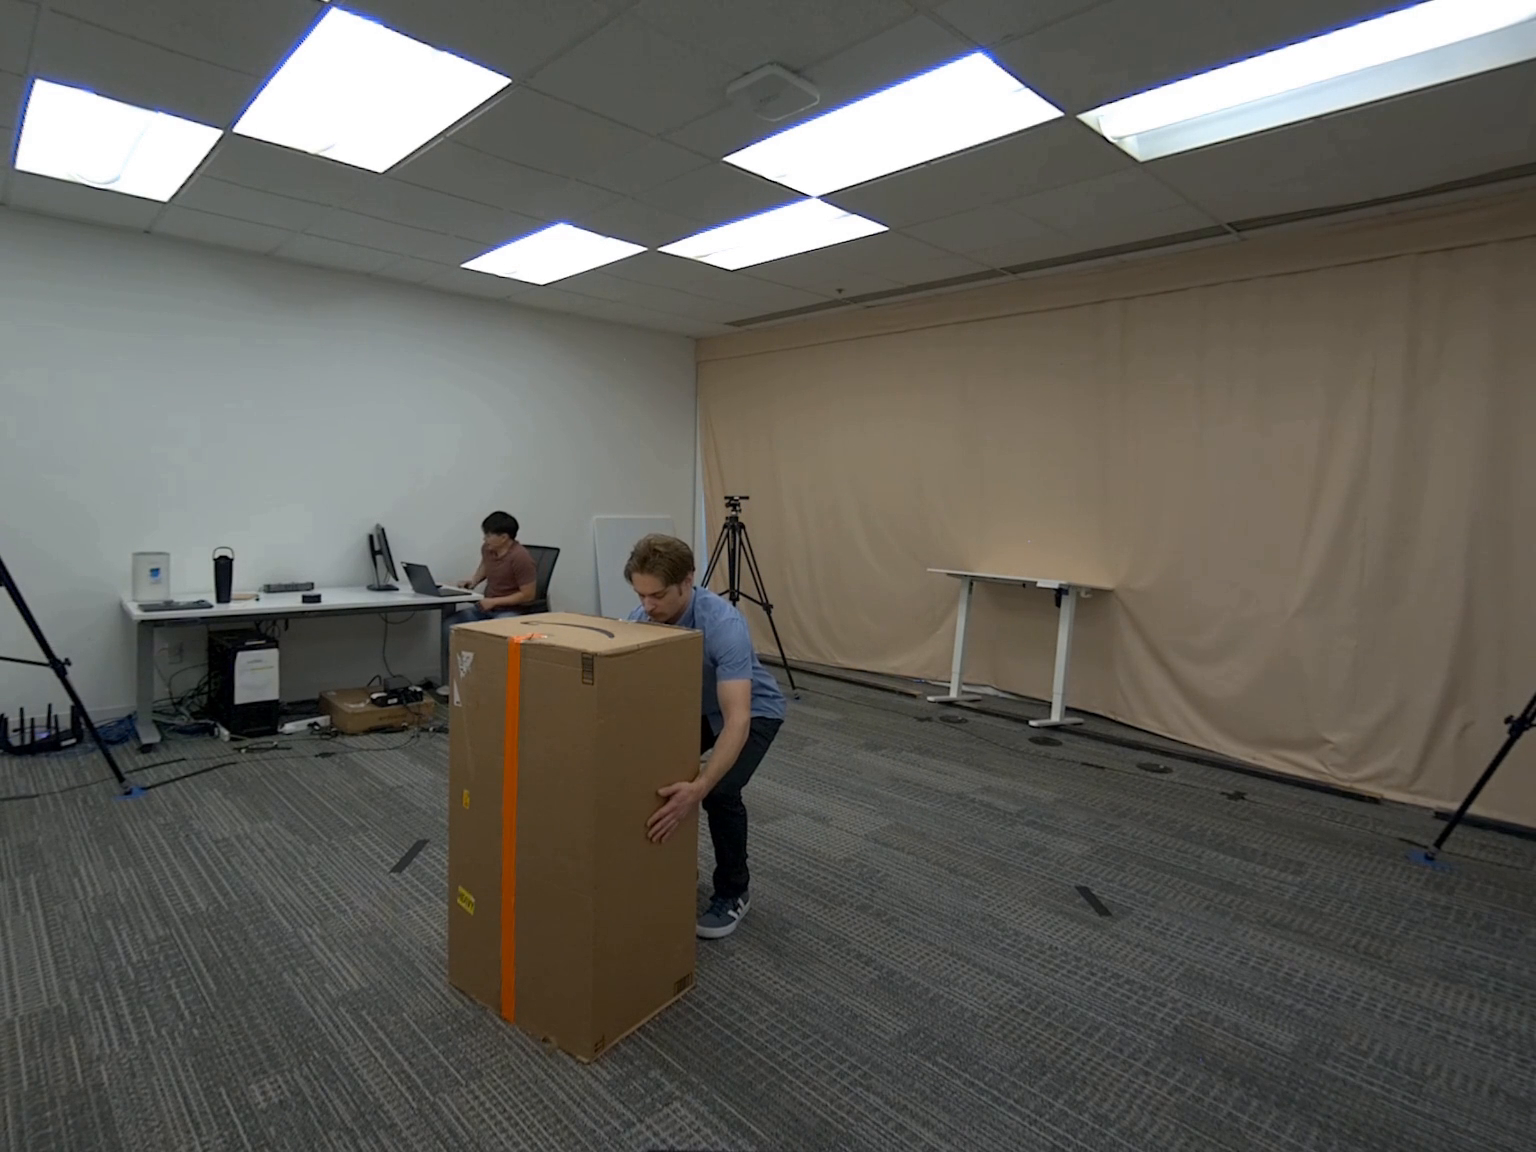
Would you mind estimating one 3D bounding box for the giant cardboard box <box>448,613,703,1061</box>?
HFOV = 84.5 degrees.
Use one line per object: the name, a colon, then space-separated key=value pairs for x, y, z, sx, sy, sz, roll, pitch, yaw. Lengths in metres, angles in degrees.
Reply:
giant cardboard box: x=-0.553 y=0.657 z=2.349 sx=0.591 sy=1.023 sz=0.417 roll=4 pitch=5 yaw=36
